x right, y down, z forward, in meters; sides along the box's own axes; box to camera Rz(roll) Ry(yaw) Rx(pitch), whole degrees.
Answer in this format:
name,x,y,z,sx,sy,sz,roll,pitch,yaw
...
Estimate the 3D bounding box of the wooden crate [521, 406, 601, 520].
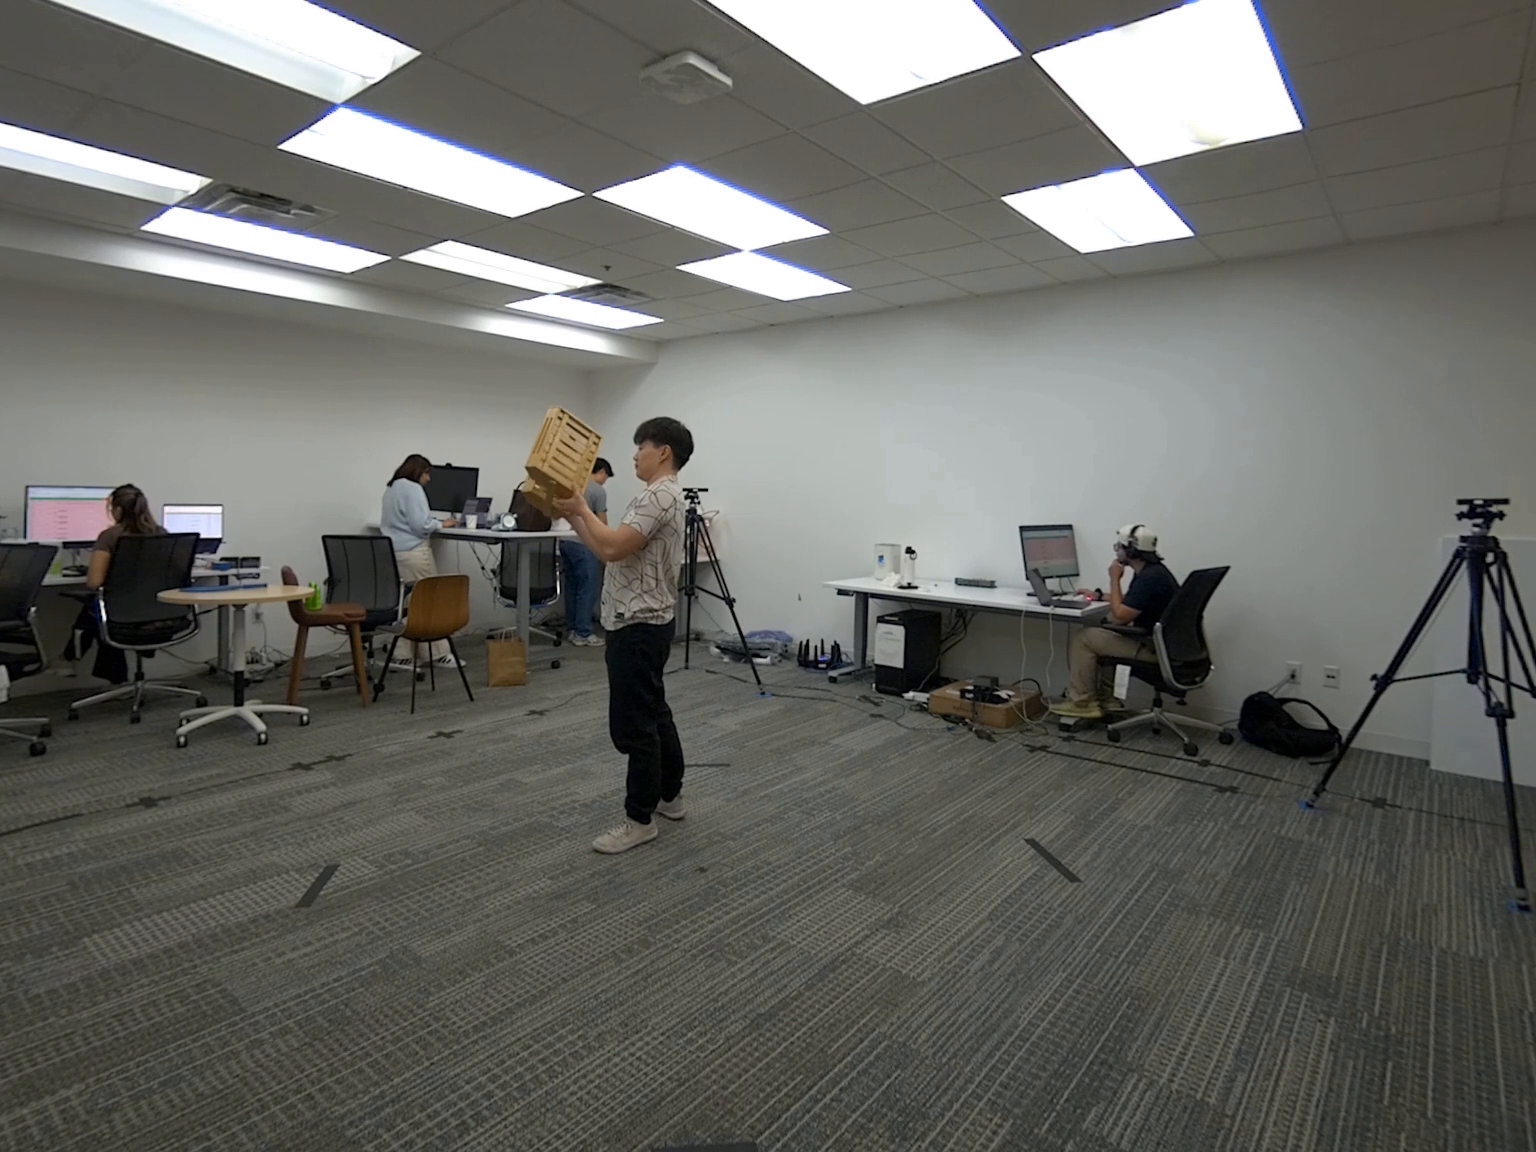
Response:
name,x,y,z,sx,sy,sz,roll,pitch,yaw
wooden crate,-0.872,-0.459,3.449,0.291,0.330,0.279,34,-34,-33
